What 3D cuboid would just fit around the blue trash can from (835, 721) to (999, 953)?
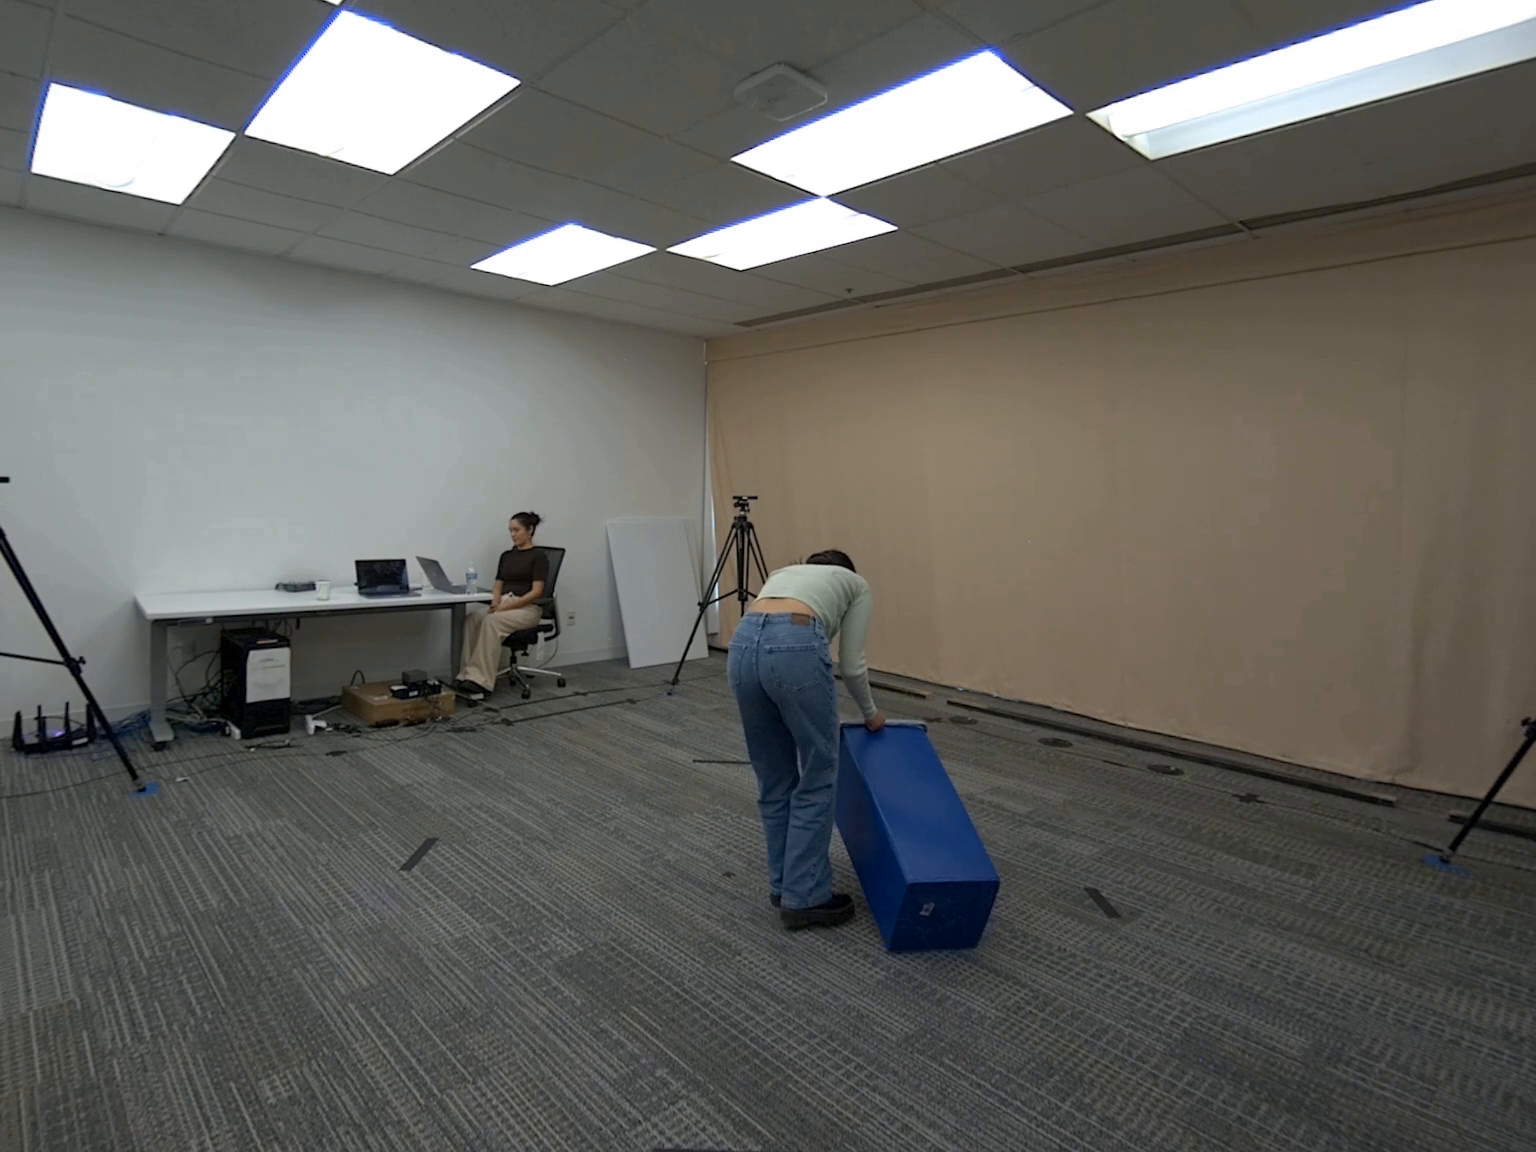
[{"bbox_3d":[0.453,0.849,2.851,0.370,0.373,0.731,3,25,-13],"label":"blue trash can"}]
